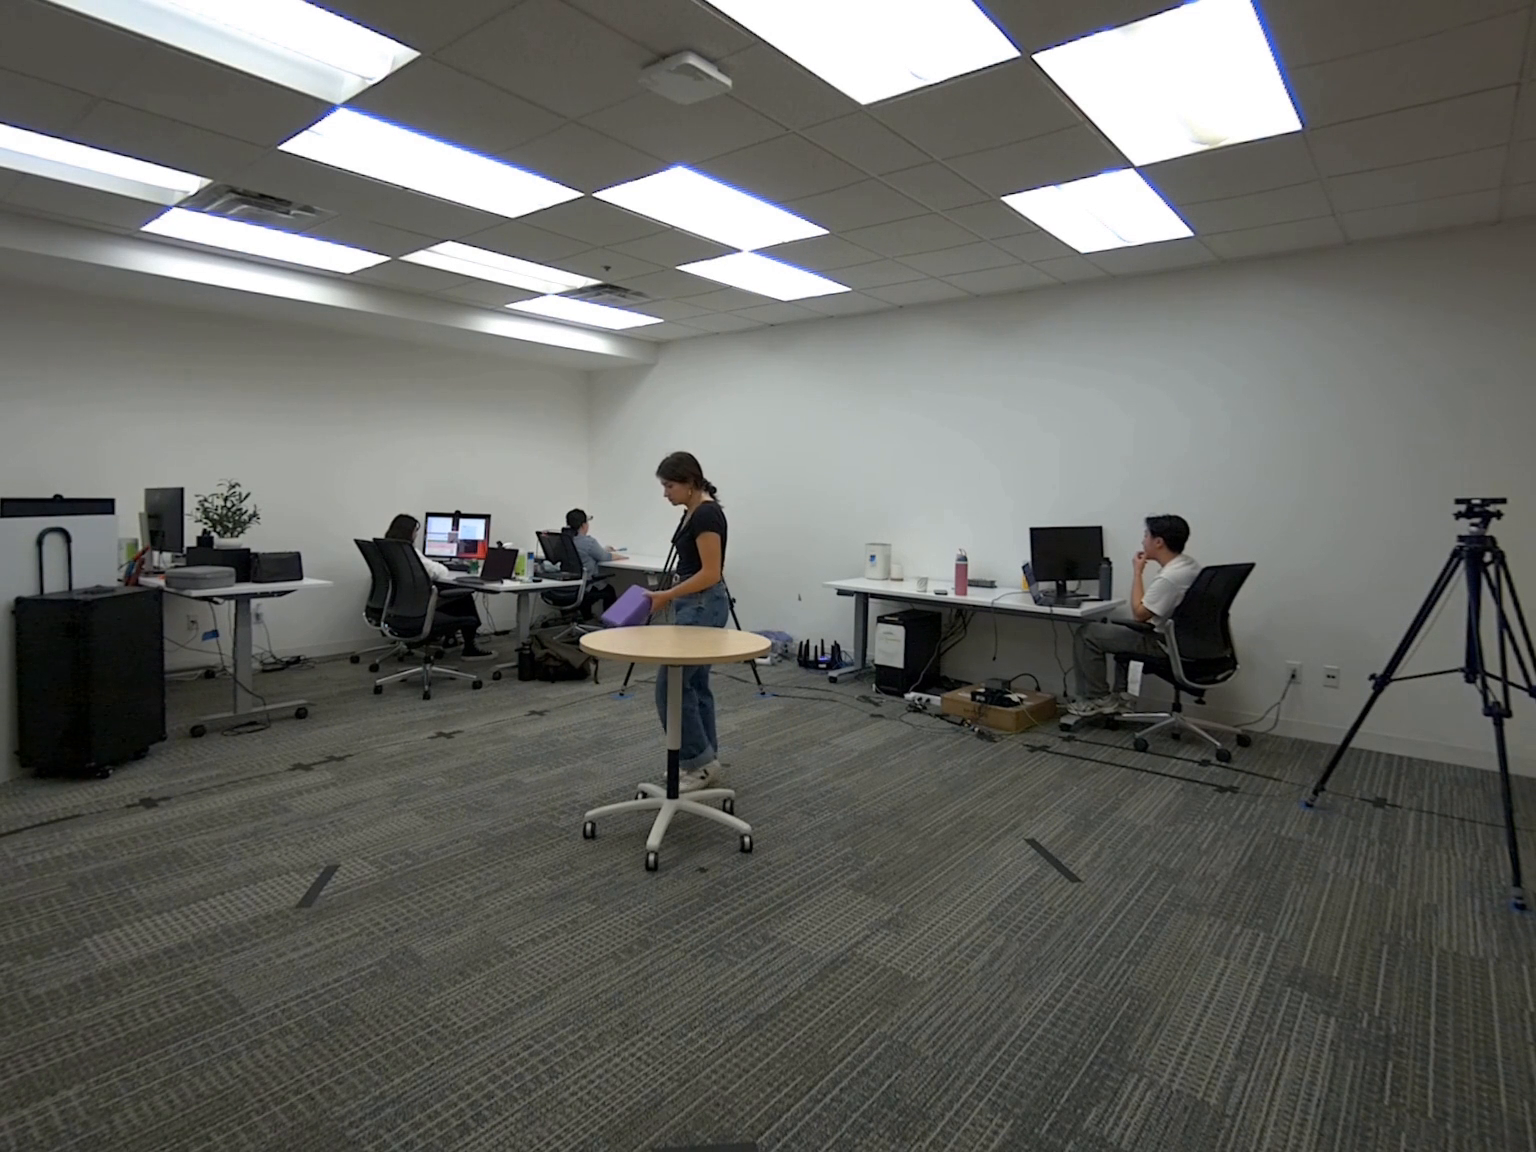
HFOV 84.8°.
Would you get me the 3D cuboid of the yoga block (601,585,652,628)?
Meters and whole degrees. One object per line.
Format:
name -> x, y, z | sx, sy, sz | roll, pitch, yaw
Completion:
yoga block -> -0.632, 0.149, 3.890 | 0.155, 0.073, 0.229 | 18, 55, 40
